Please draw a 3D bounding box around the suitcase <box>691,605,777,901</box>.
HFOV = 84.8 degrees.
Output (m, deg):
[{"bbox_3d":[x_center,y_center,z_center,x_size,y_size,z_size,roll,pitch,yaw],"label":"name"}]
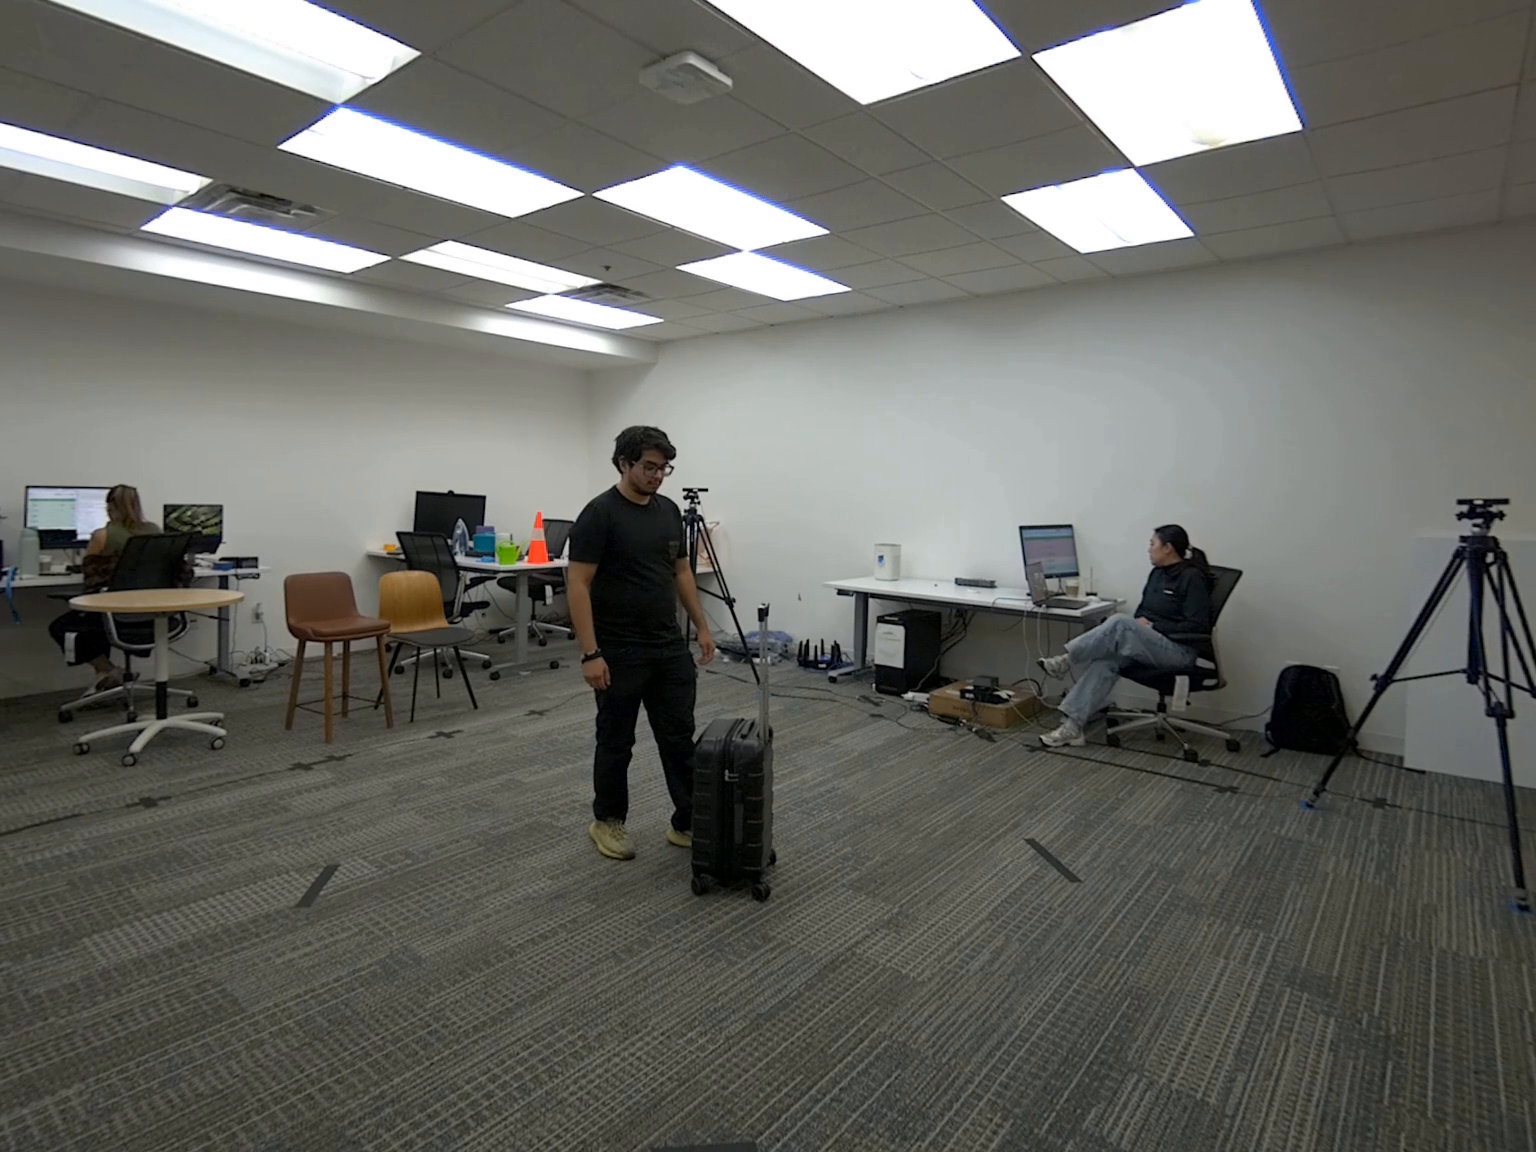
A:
[{"bbox_3d":[-0.129,0.602,3.038,0.260,0.977,0.381,-2,1,8],"label":"suitcase"}]
